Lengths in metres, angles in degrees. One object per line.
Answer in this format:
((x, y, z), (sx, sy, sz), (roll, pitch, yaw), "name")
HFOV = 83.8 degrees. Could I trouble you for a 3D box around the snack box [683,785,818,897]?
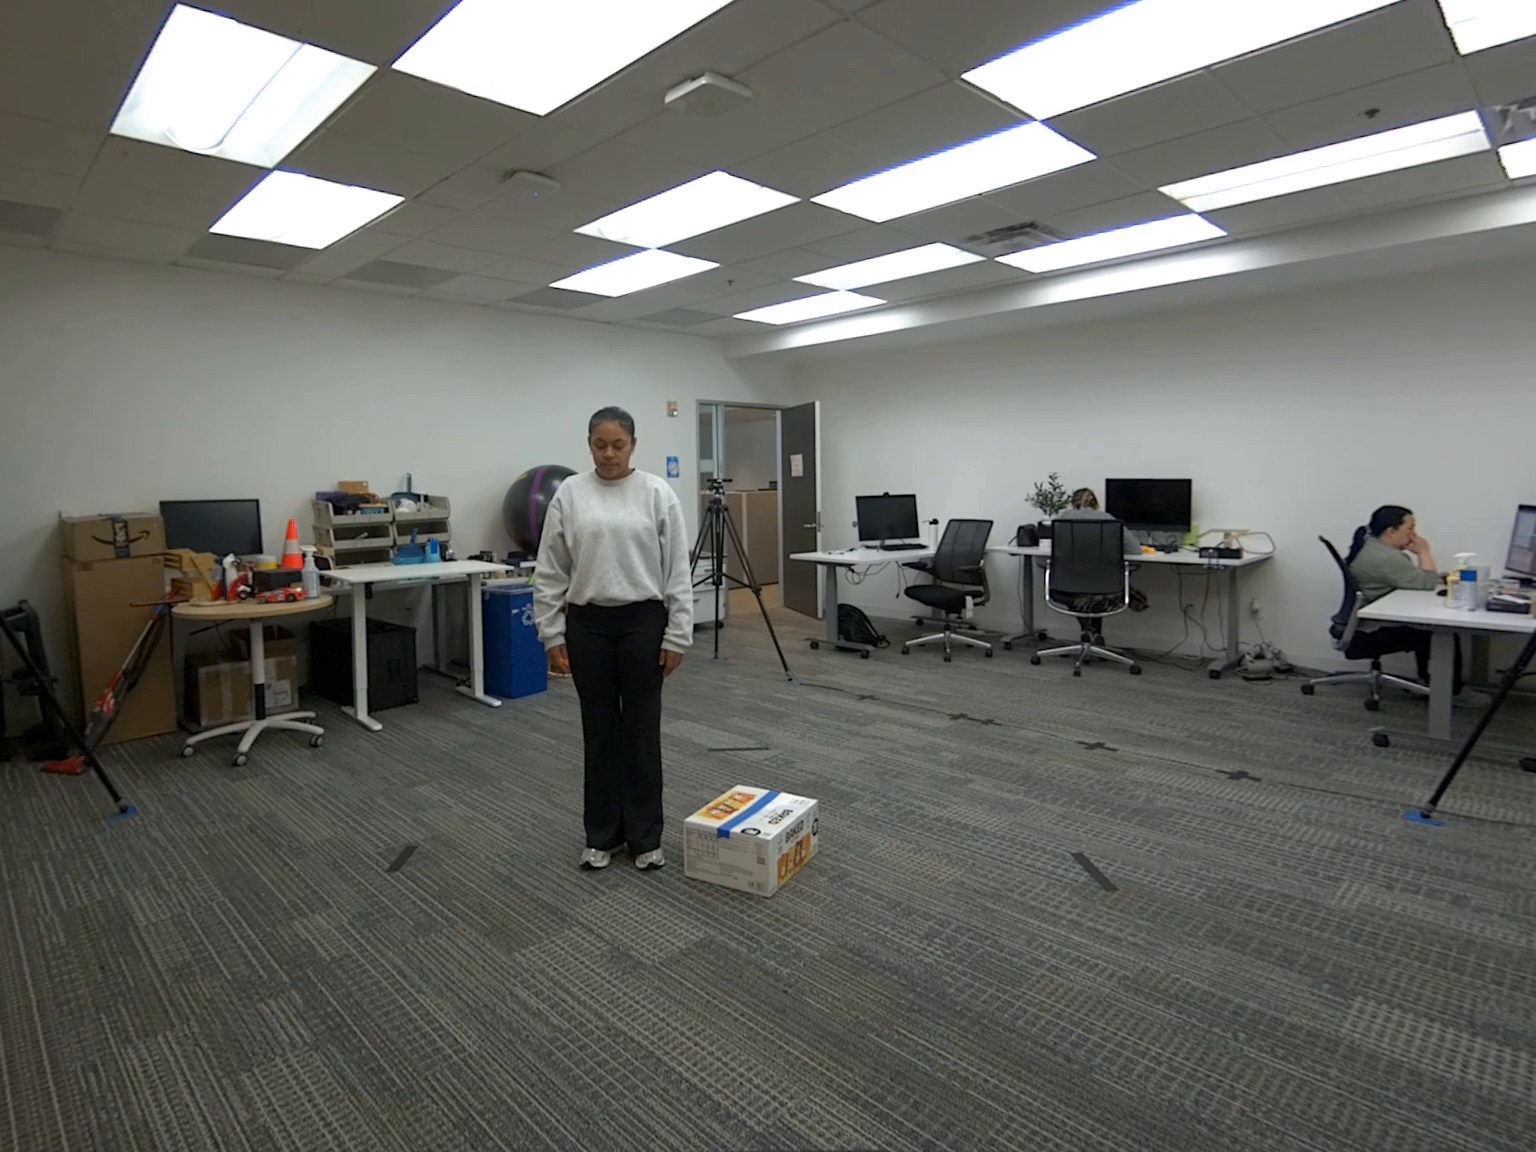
((-0.051, 0.947, 3.090), (0.349, 0.205, 0.397), (2, 6, 29), "snack box")
